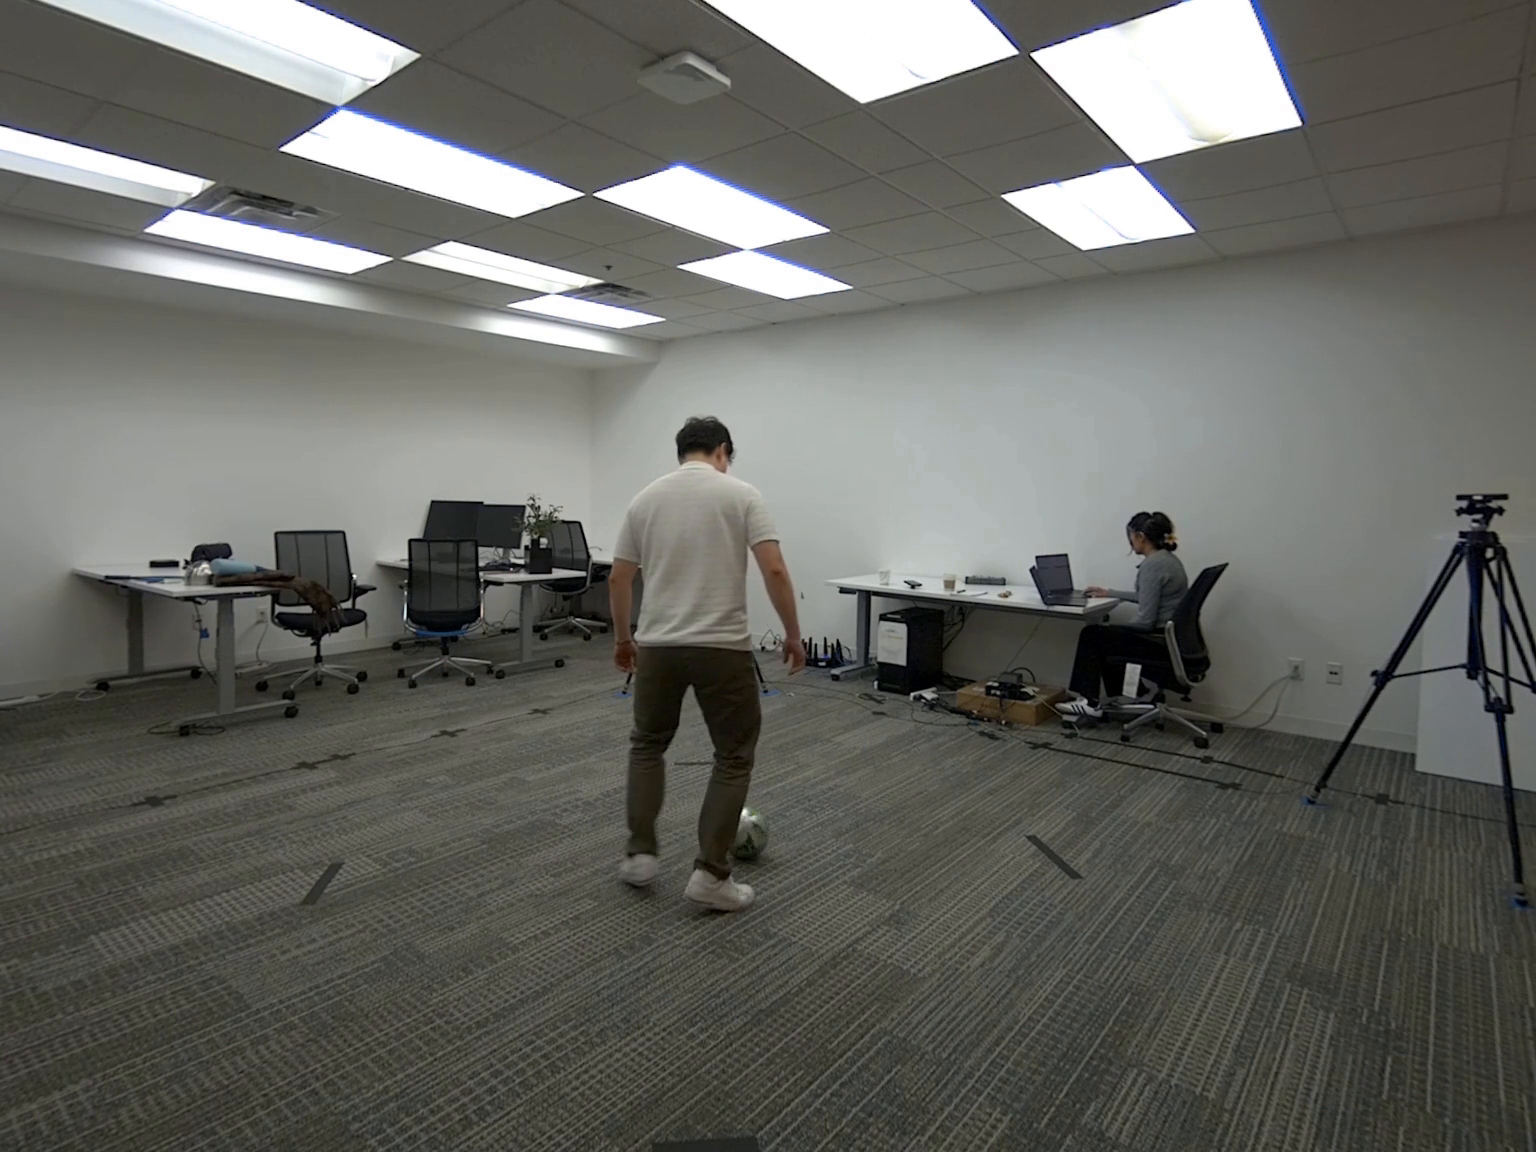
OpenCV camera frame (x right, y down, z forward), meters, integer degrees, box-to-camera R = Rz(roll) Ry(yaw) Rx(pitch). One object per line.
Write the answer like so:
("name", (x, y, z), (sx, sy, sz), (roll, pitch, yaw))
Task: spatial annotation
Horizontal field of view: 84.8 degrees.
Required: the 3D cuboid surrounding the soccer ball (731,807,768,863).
("soccer ball", (-0.100, 0.961, 3.206), (0.187, 0.187, 0.188), (0, 4, -2))
